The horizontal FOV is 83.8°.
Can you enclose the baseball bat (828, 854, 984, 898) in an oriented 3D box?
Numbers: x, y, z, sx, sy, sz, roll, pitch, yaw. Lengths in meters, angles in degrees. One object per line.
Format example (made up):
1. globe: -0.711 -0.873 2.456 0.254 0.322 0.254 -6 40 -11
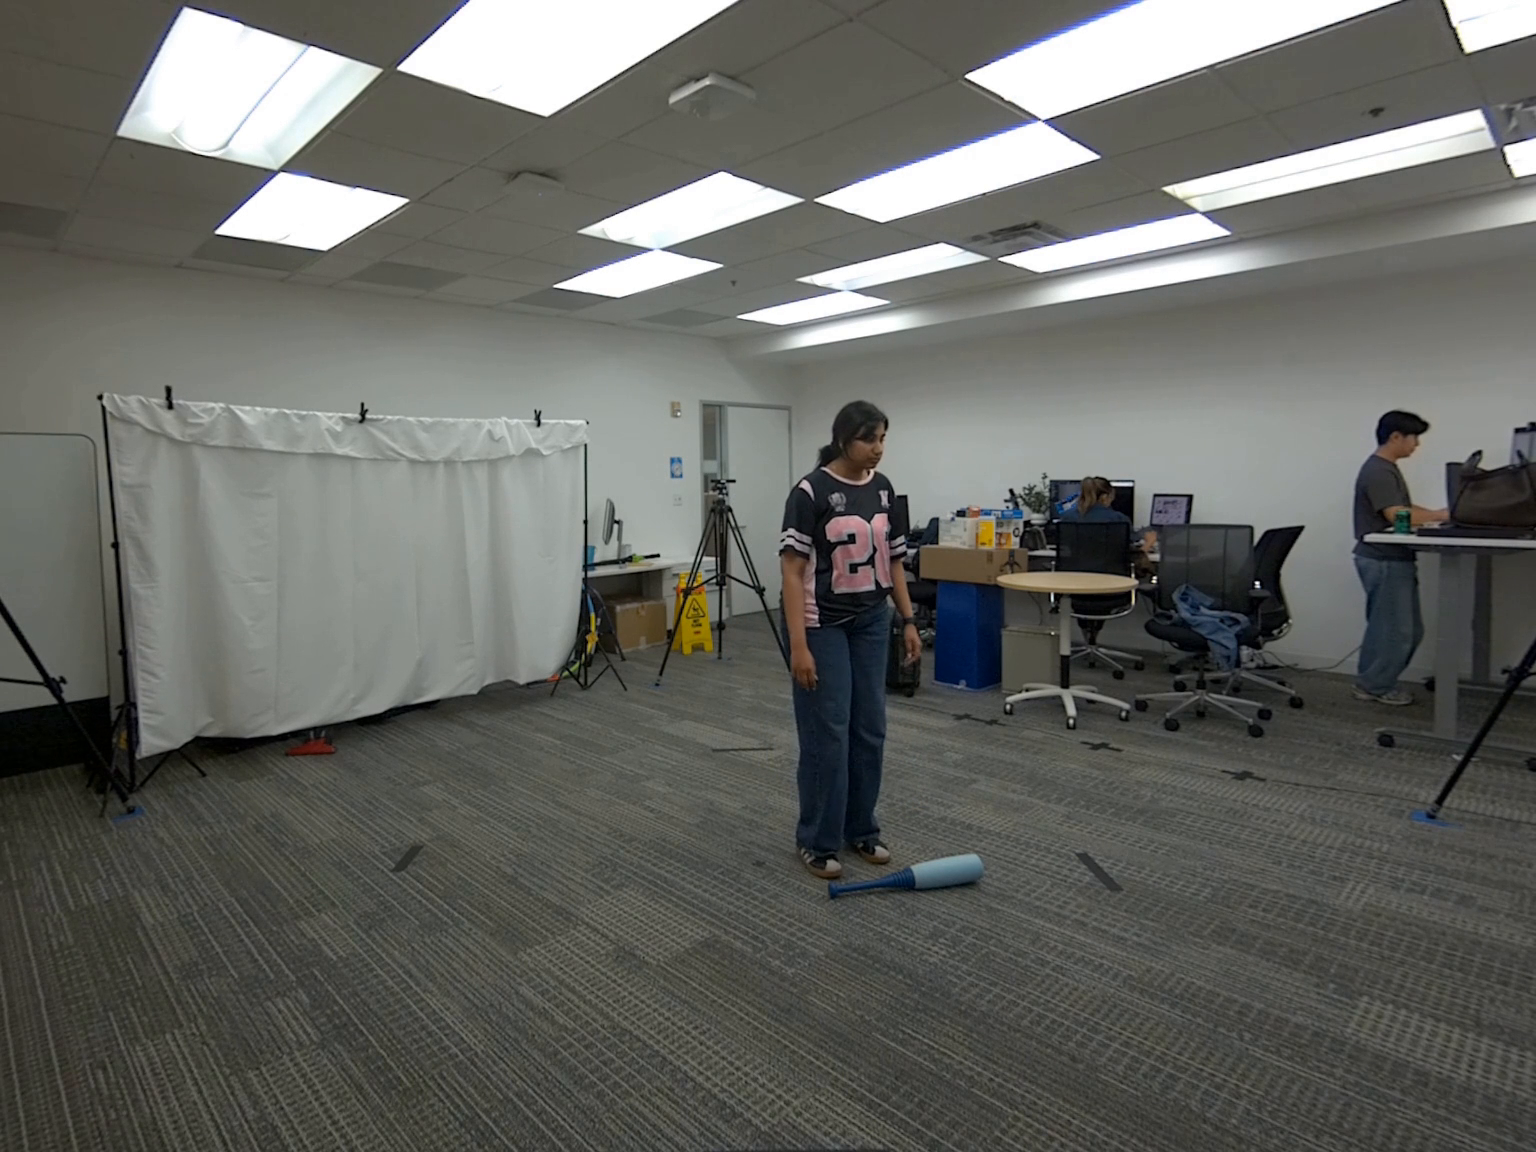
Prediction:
1. baseball bat: 0.473 1.026 2.890 0.538 0.088 0.090 -5 5 -10
